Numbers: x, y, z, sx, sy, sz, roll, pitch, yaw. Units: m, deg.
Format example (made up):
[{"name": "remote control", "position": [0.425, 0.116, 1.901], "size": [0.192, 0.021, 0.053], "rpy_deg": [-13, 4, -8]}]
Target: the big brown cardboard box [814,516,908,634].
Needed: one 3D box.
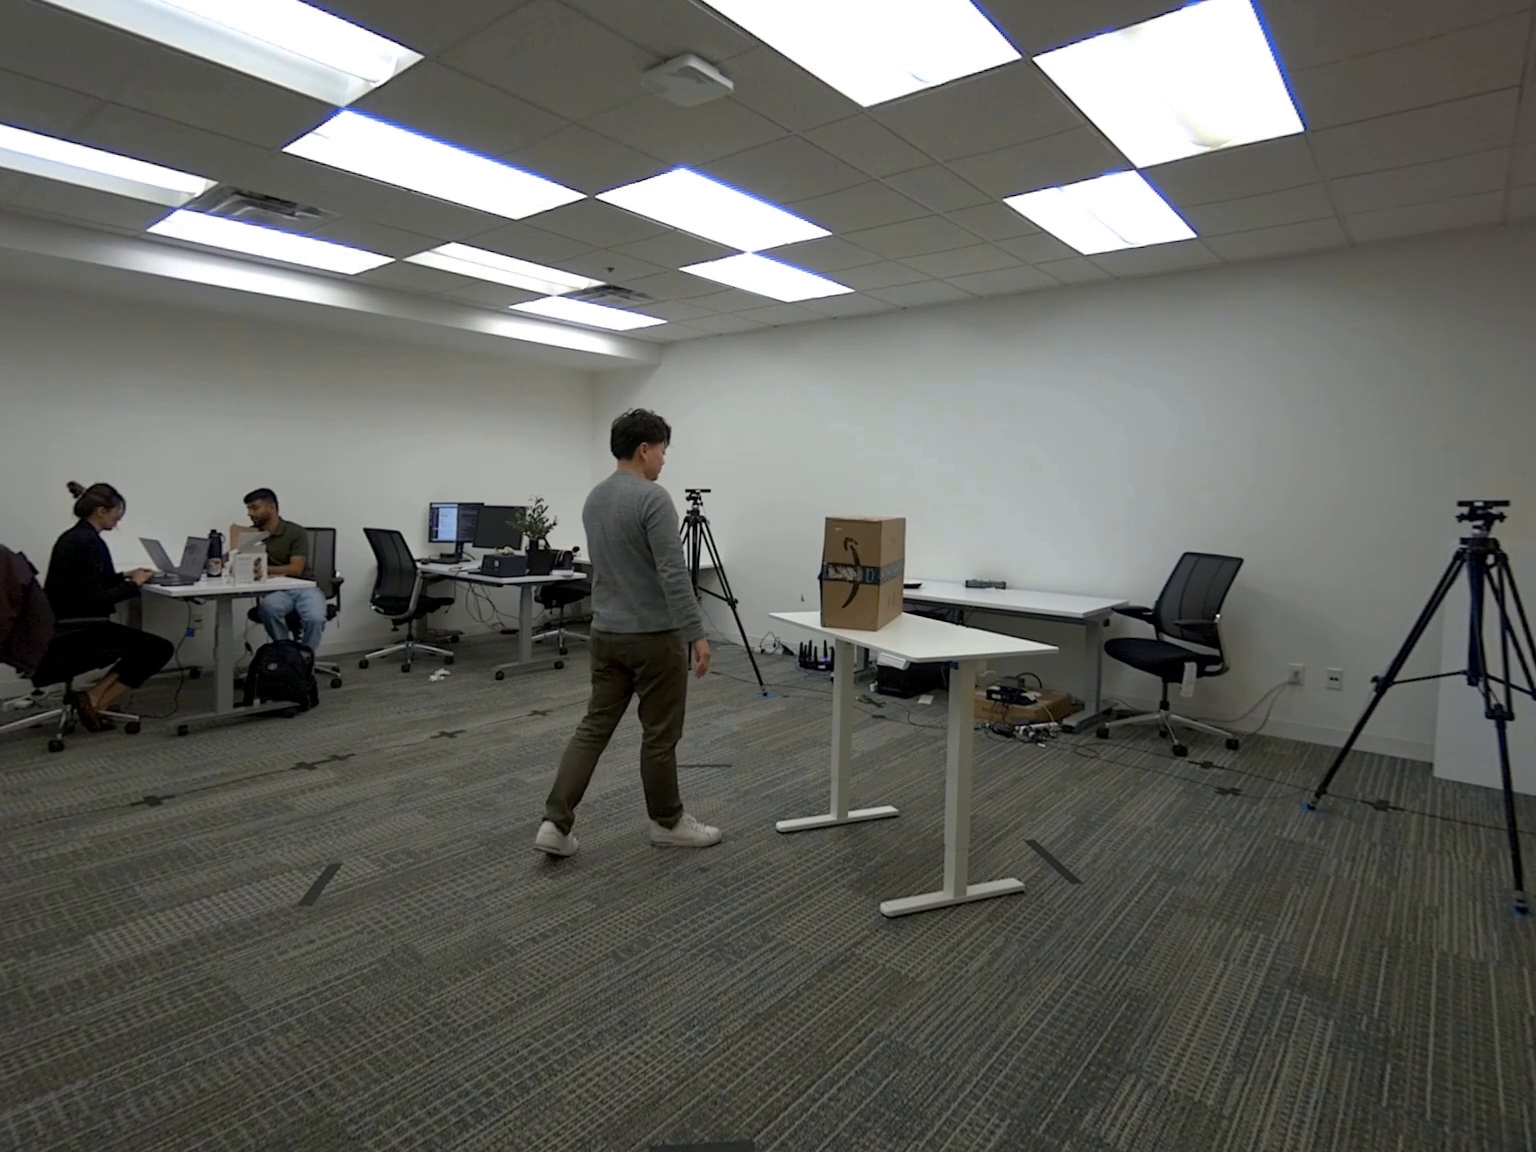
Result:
[{"name": "big brown cardboard box", "position": [0.387, -0.028, 3.412], "size": [0.238, 0.416, 0.578], "rpy_deg": [3, 4, 19]}]
